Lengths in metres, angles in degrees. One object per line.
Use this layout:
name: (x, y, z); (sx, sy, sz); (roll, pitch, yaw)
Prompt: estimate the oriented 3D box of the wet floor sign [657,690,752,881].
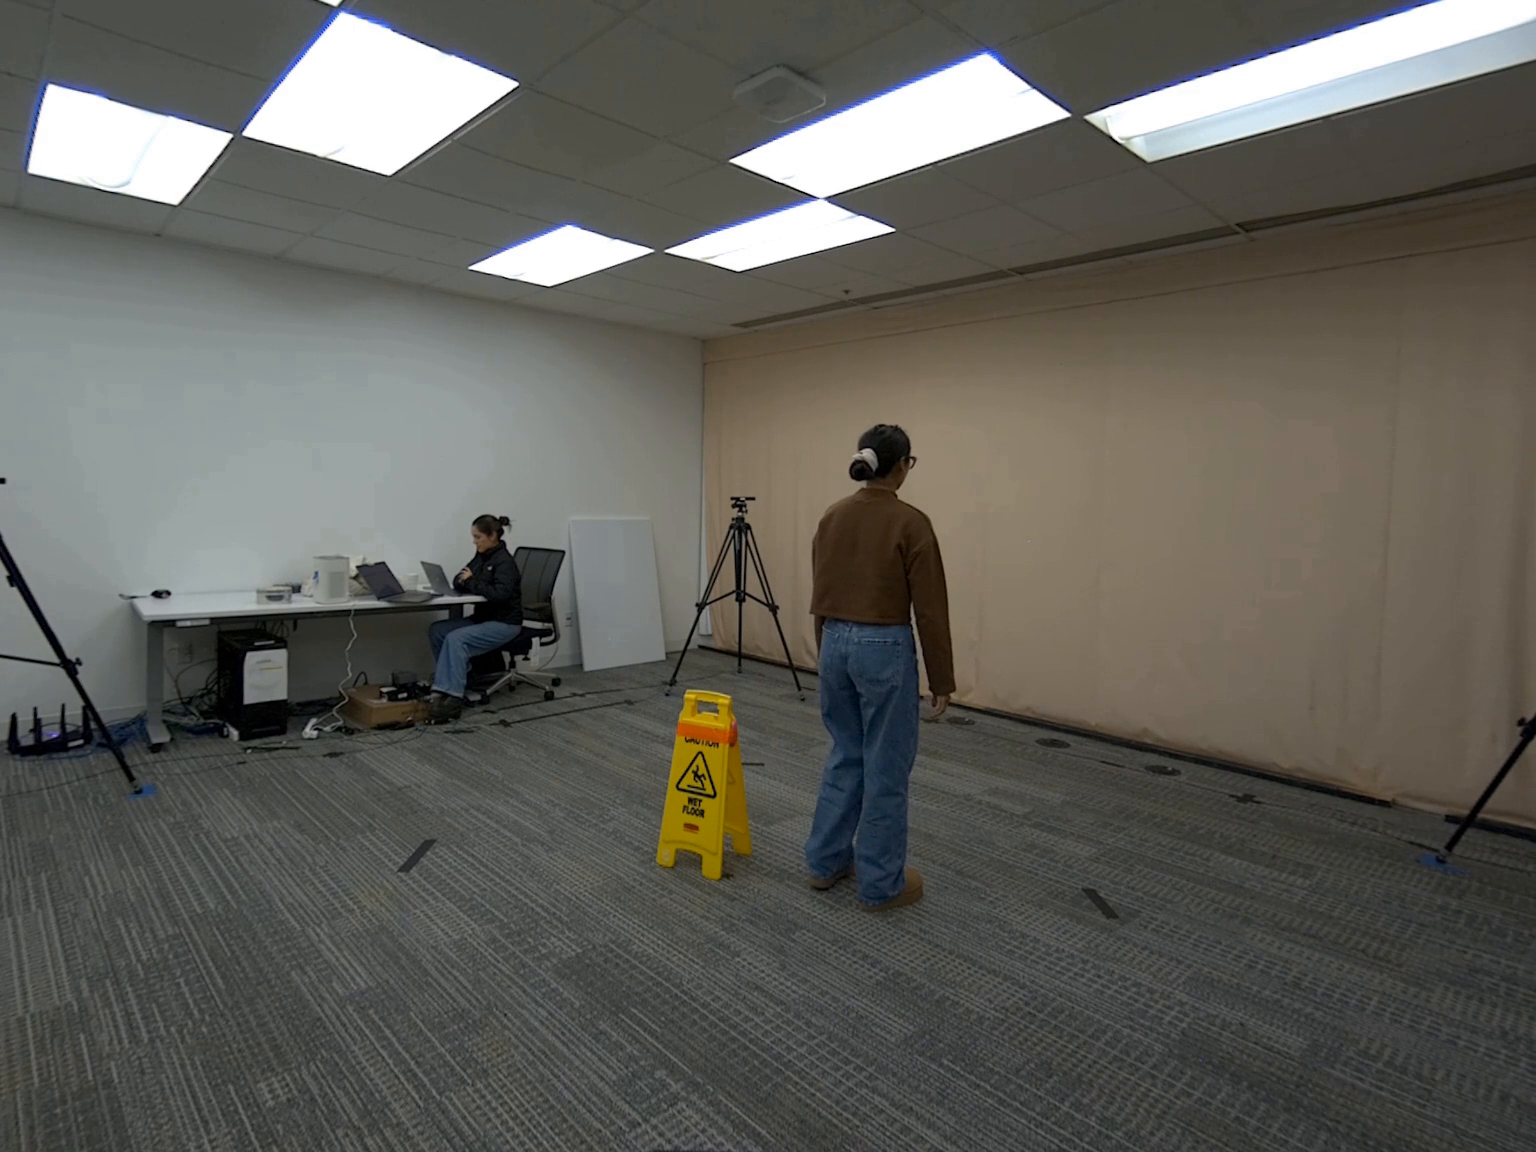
wet floor sign: (-0.244, 0.770, 3.233); (0.288, 0.645, 0.284); (4, 3, 26)
